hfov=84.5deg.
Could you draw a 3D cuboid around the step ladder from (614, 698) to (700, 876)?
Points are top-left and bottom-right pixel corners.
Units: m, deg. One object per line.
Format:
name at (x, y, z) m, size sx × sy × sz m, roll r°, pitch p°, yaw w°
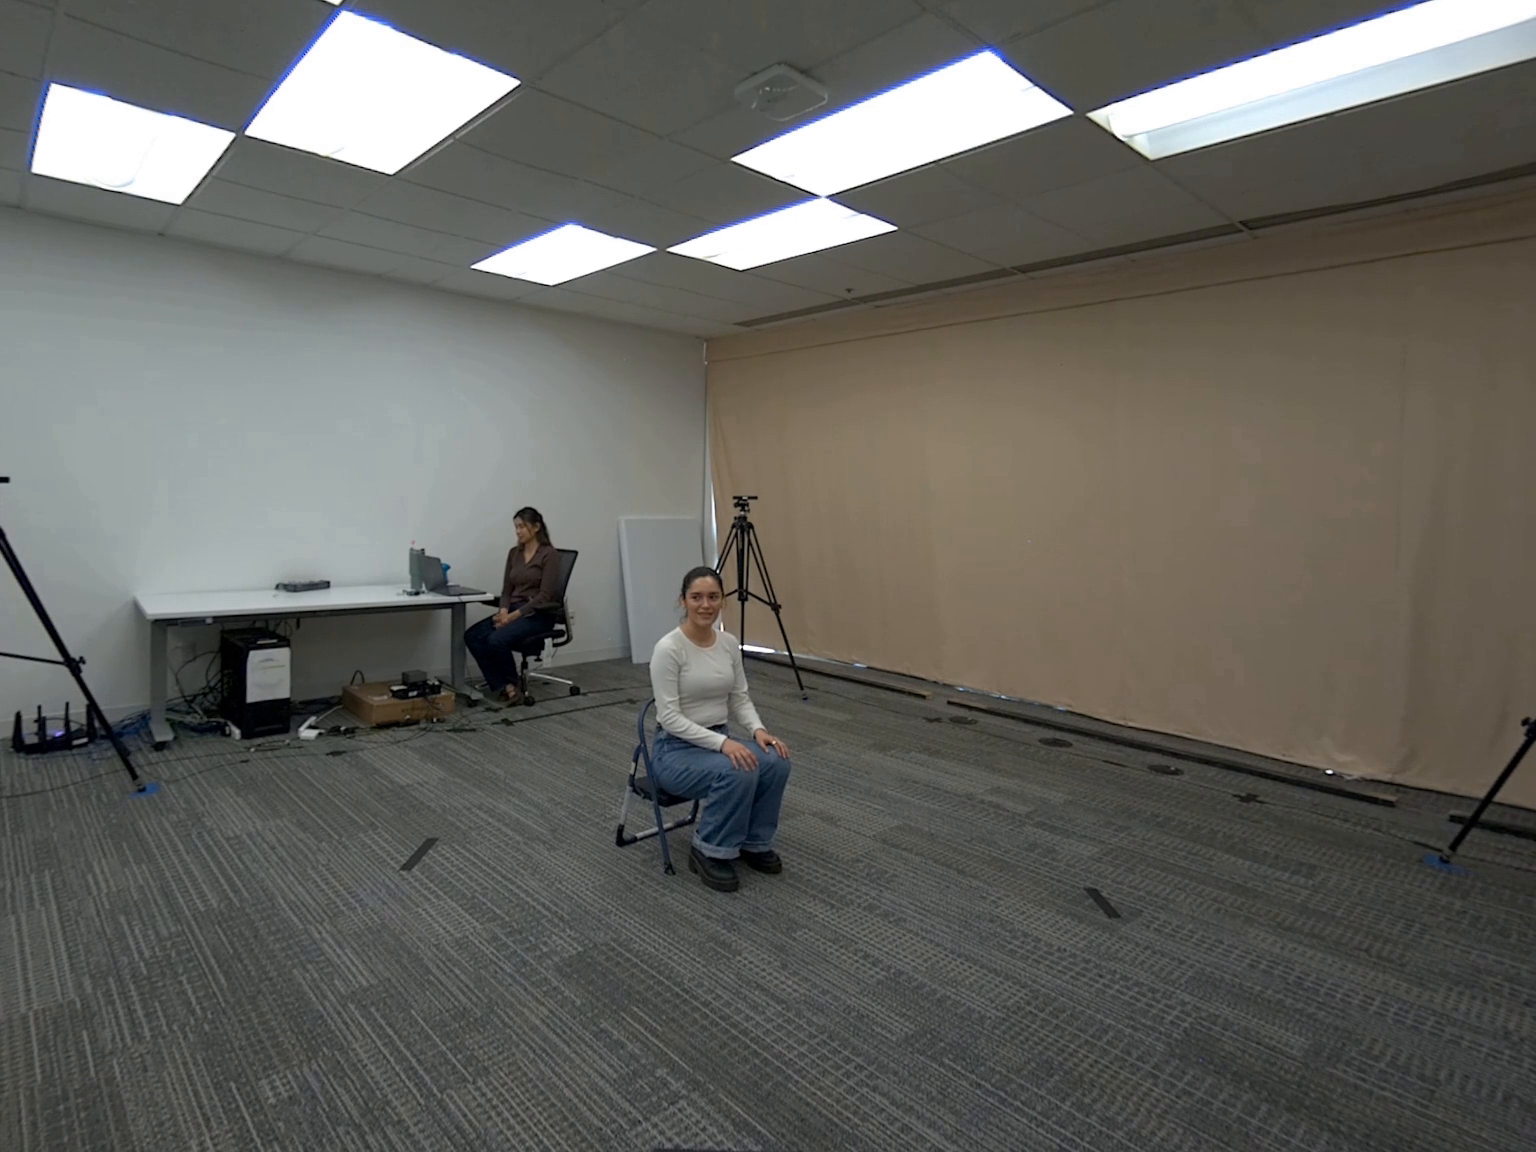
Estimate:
step ladder at (-0.342, 0.772, 3.348) m, size 0.358 × 0.605 × 0.421 m, roll 5°, pitch 5°, yaw 44°
